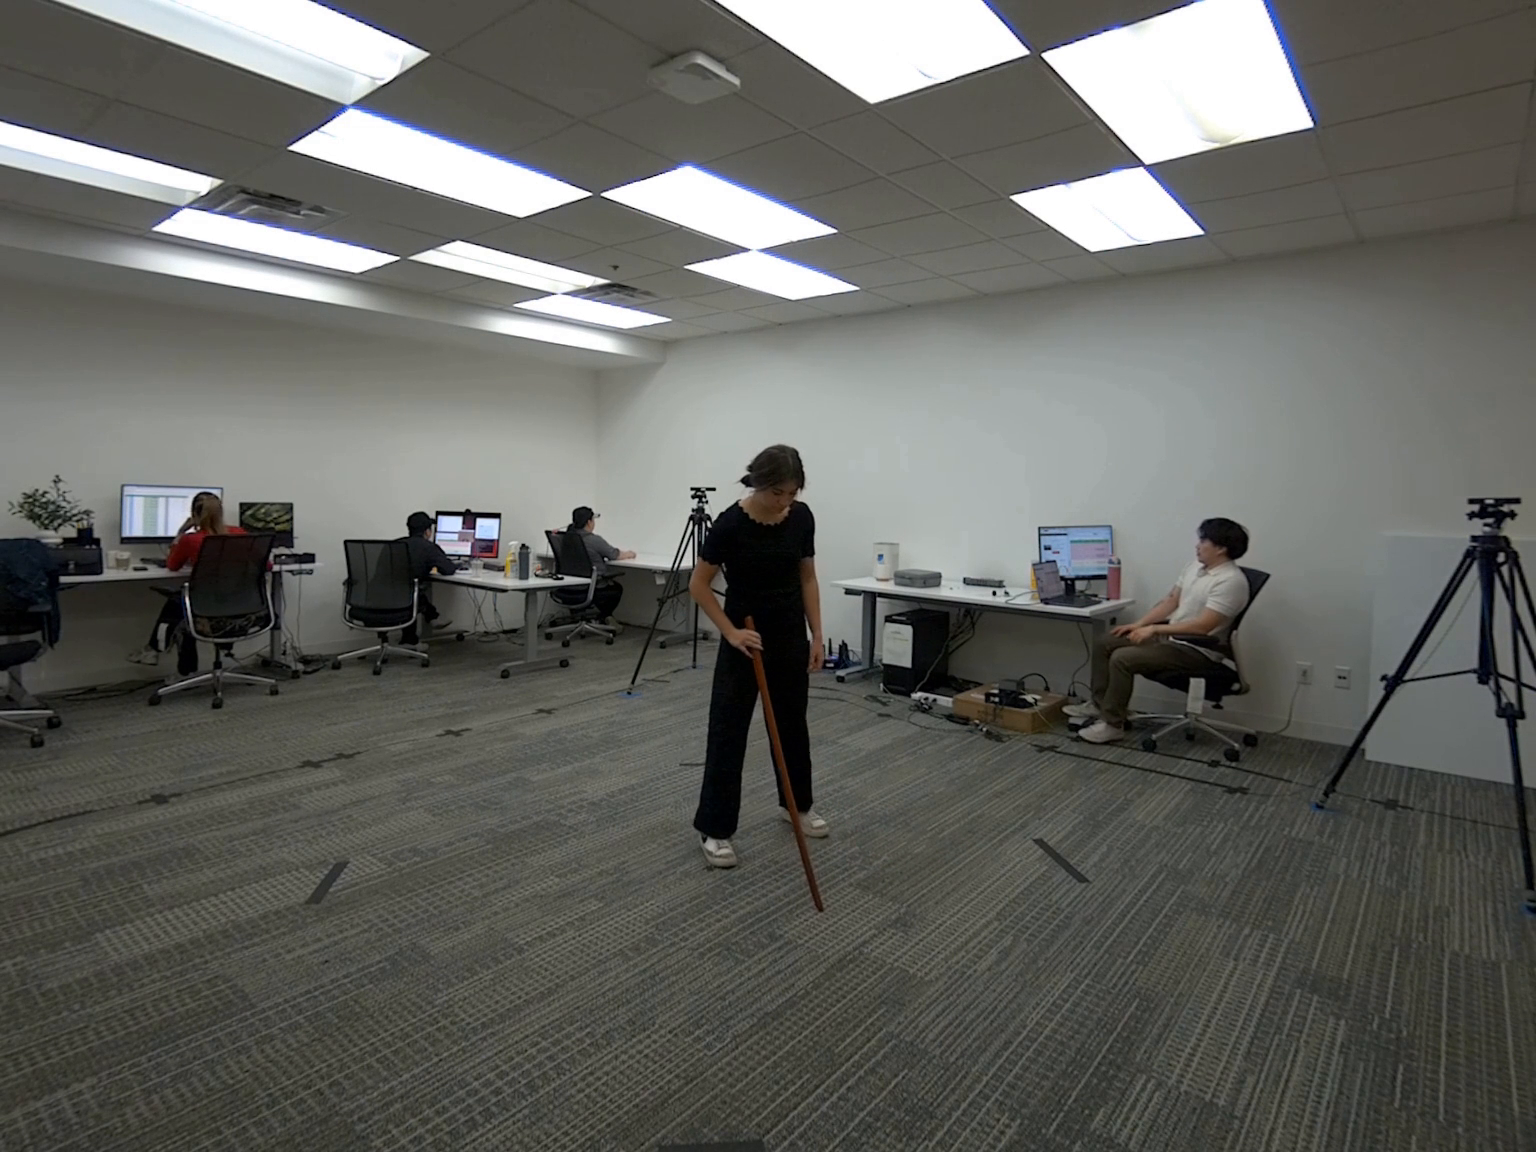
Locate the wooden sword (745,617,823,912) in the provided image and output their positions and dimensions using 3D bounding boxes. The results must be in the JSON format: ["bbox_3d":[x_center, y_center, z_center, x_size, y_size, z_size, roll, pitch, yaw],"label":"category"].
[{"bbox_3d":[0.051,0.646,2.994,0.023,1.049,0.052,3,-27,-41],"label":"wooden sword"}]
